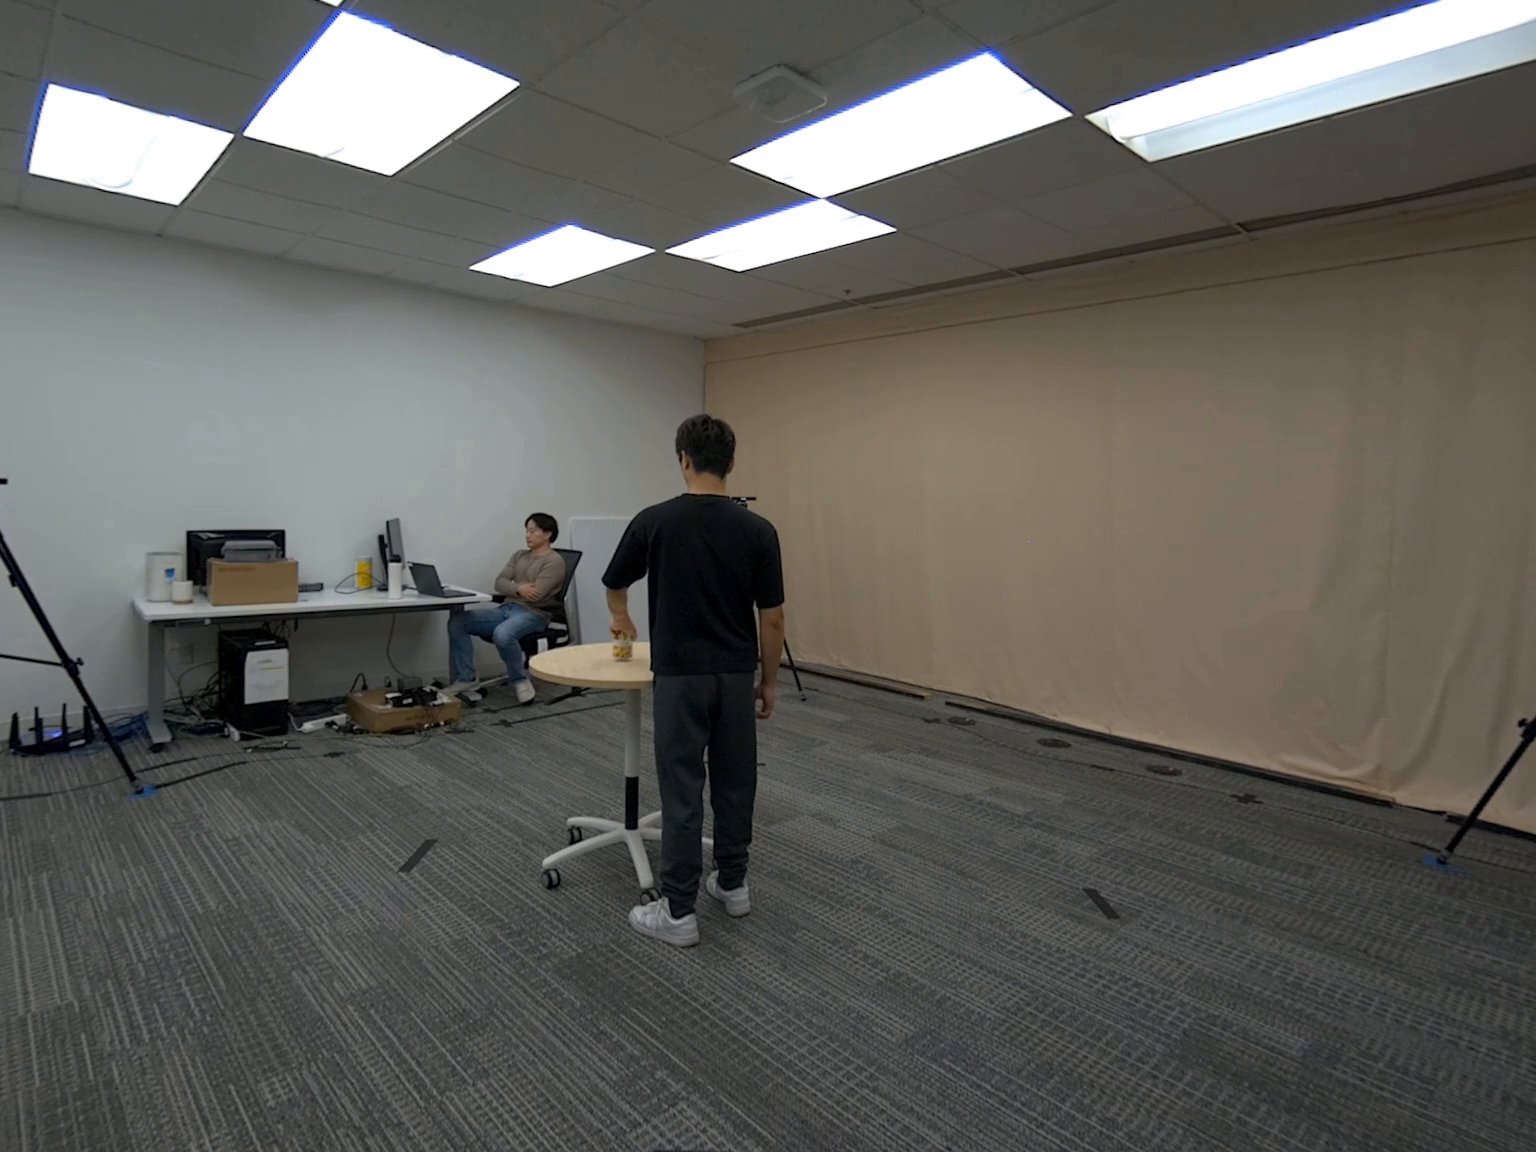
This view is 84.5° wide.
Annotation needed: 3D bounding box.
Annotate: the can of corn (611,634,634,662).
[{"bbox_3d":[-0.527,0.248,3.113,0.074,0.110,0.074,1,5,-2],"label":"can of corn"}]
